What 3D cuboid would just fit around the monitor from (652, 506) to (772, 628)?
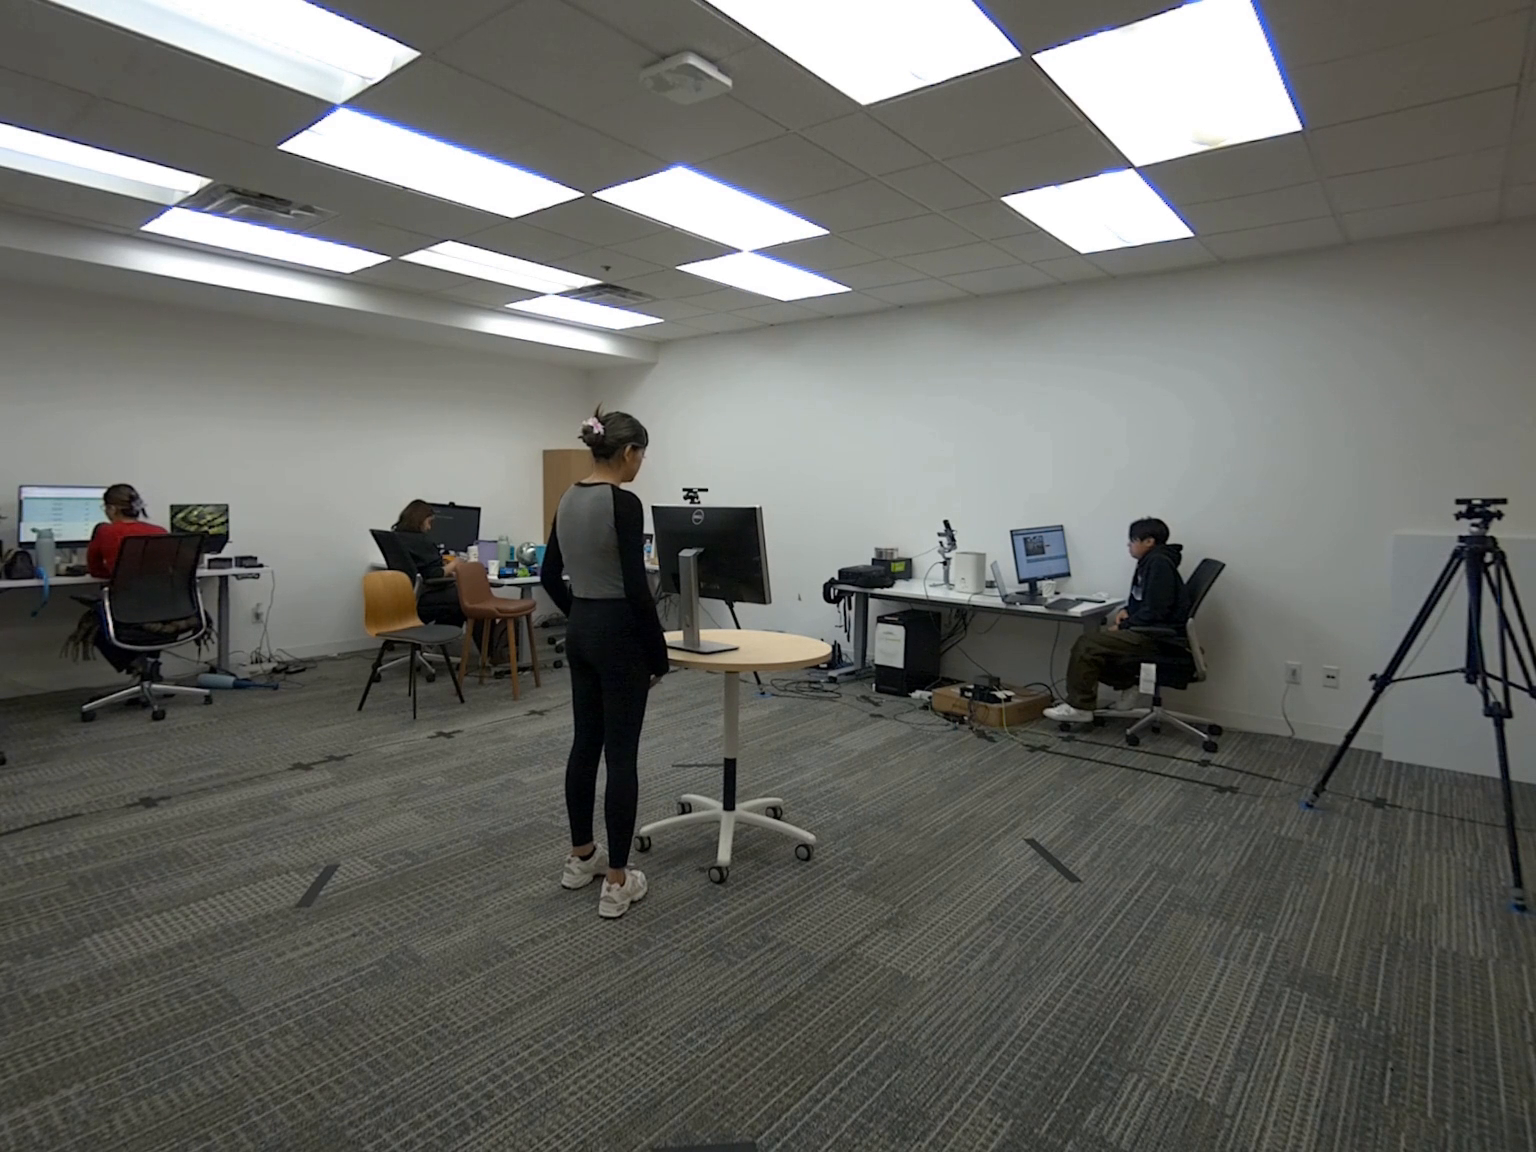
[{"bbox_3d":[-0.262,0.002,3.207,0.557,0.522,0.181,4,2,40],"label":"monitor"}]
